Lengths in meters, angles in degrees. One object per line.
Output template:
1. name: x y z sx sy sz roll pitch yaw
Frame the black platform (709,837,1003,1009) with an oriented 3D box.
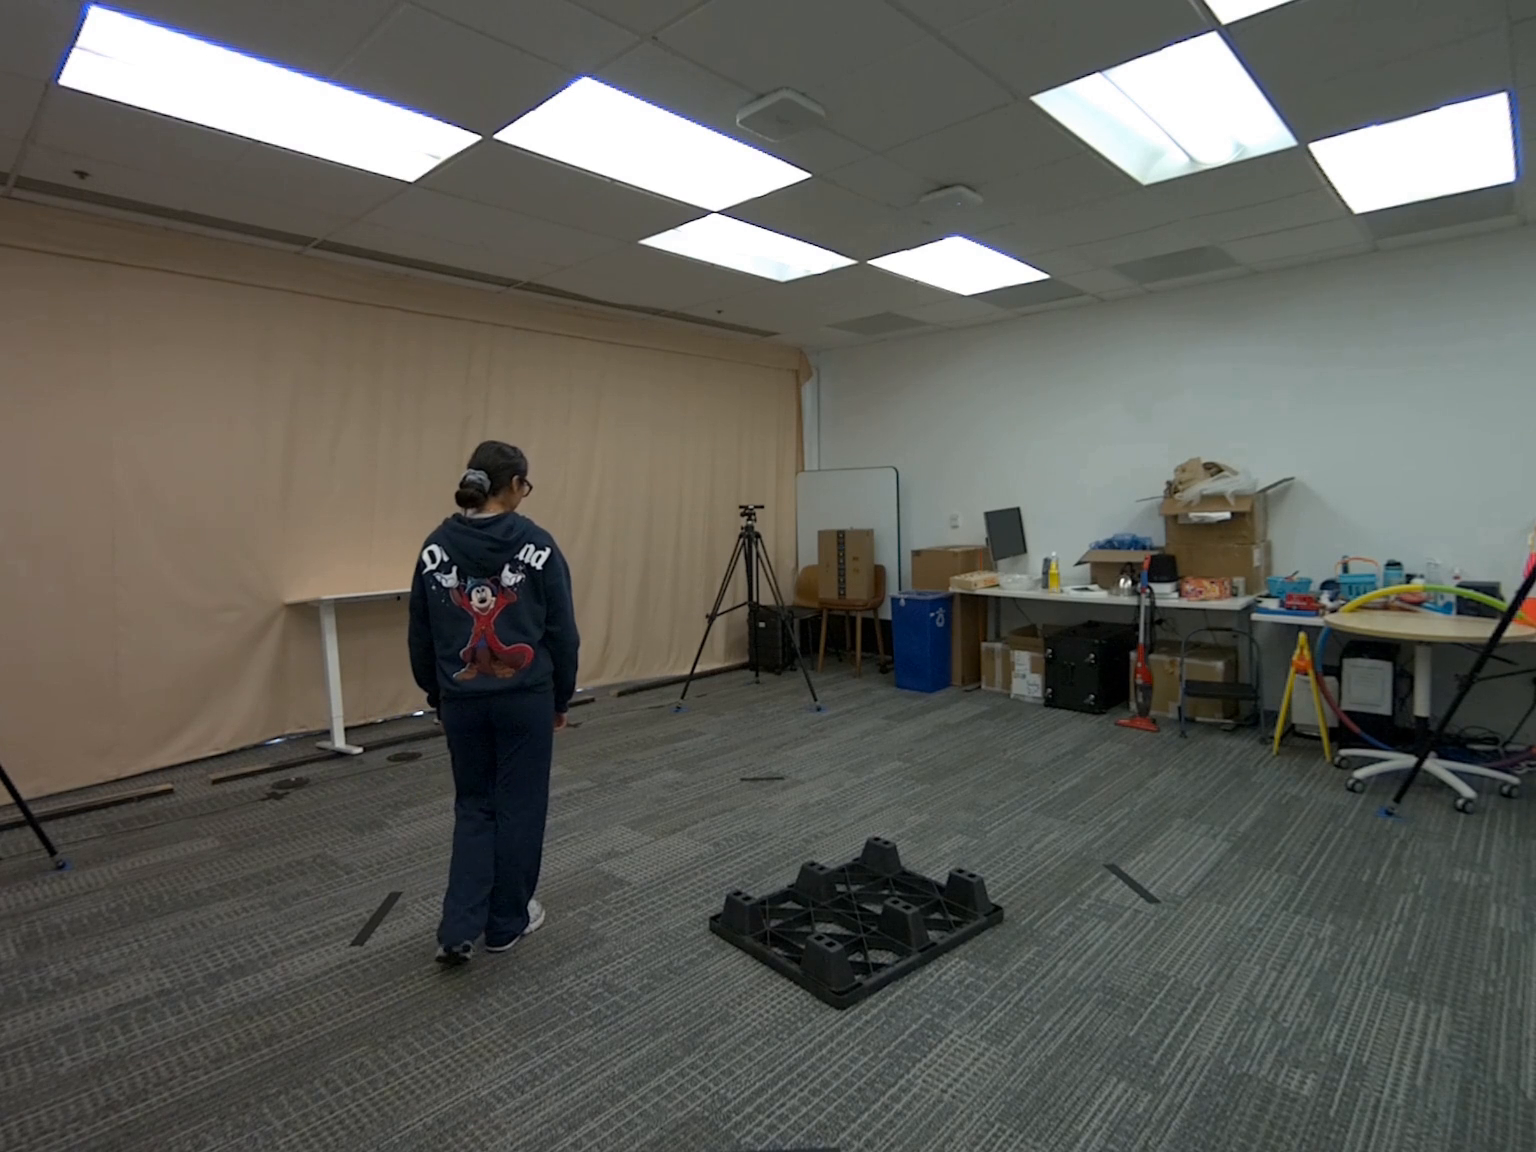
1. black platform: 0.293 1.080 2.785 0.781 0.143 0.625 -5 7 -40
